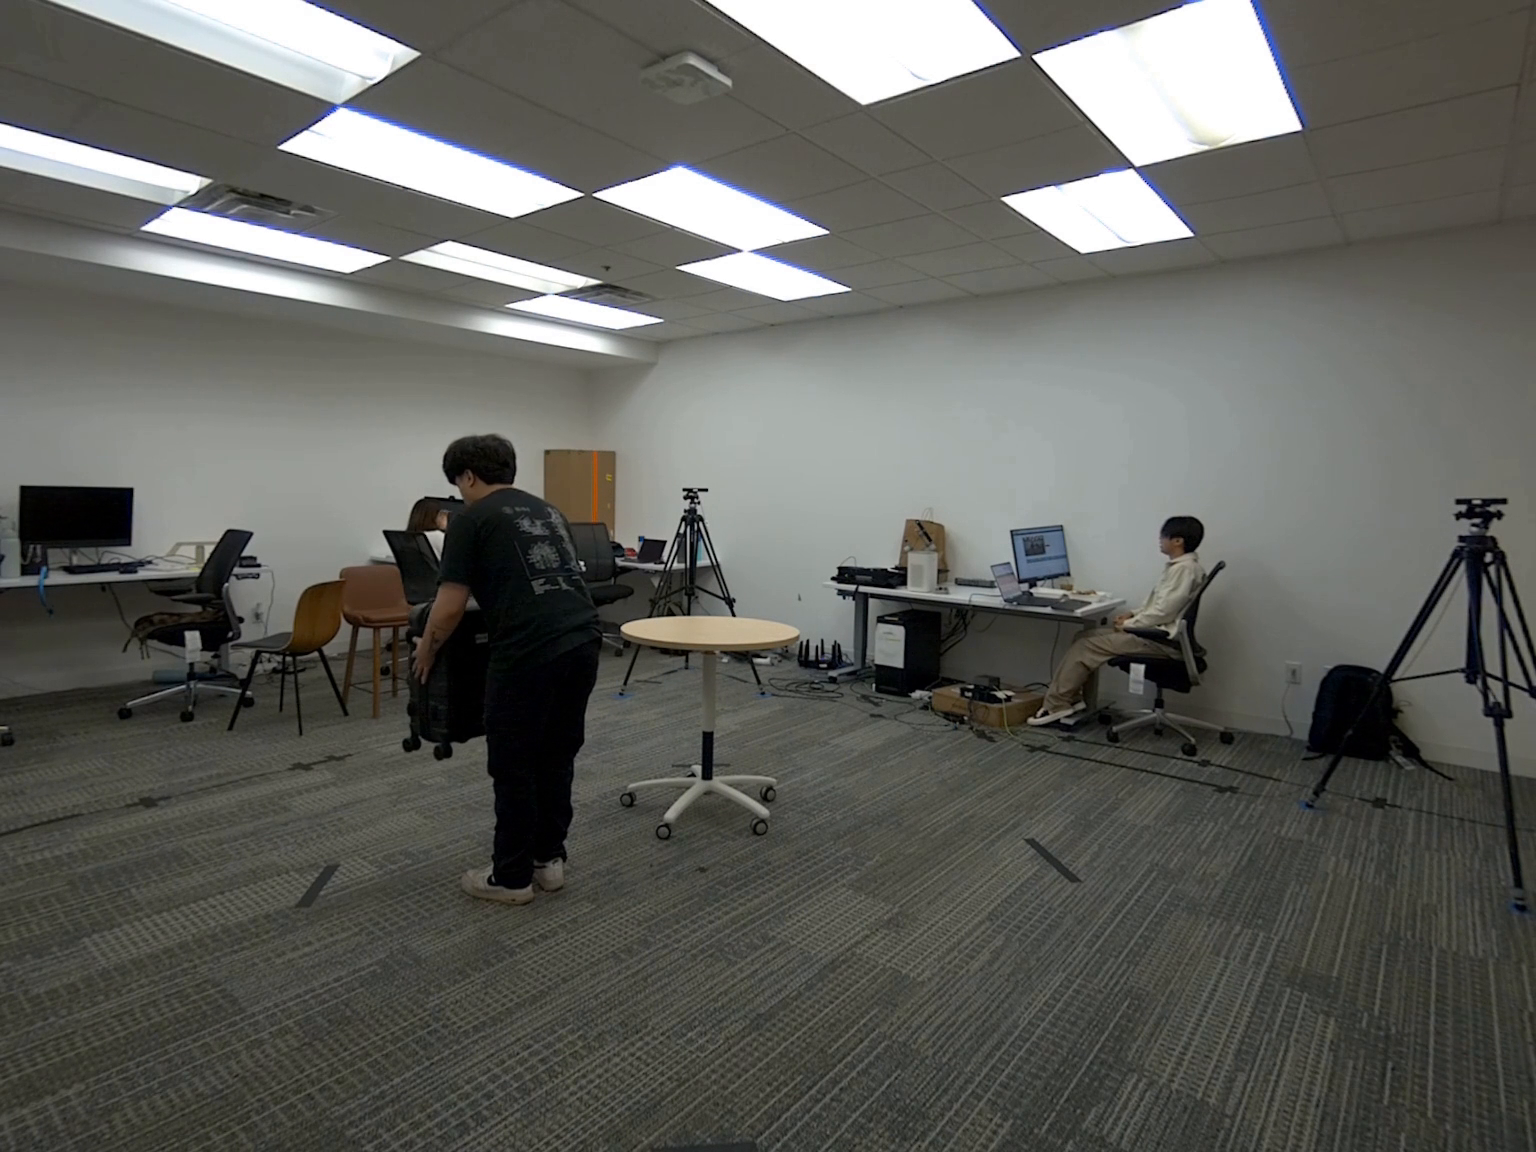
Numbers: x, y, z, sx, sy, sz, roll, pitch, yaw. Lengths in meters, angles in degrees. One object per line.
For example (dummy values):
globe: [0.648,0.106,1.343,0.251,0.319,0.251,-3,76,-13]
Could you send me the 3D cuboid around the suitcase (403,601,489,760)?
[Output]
suitcase: [-1.124,0.355,3.111,0.256,0.548,0.364,0,3,38]
